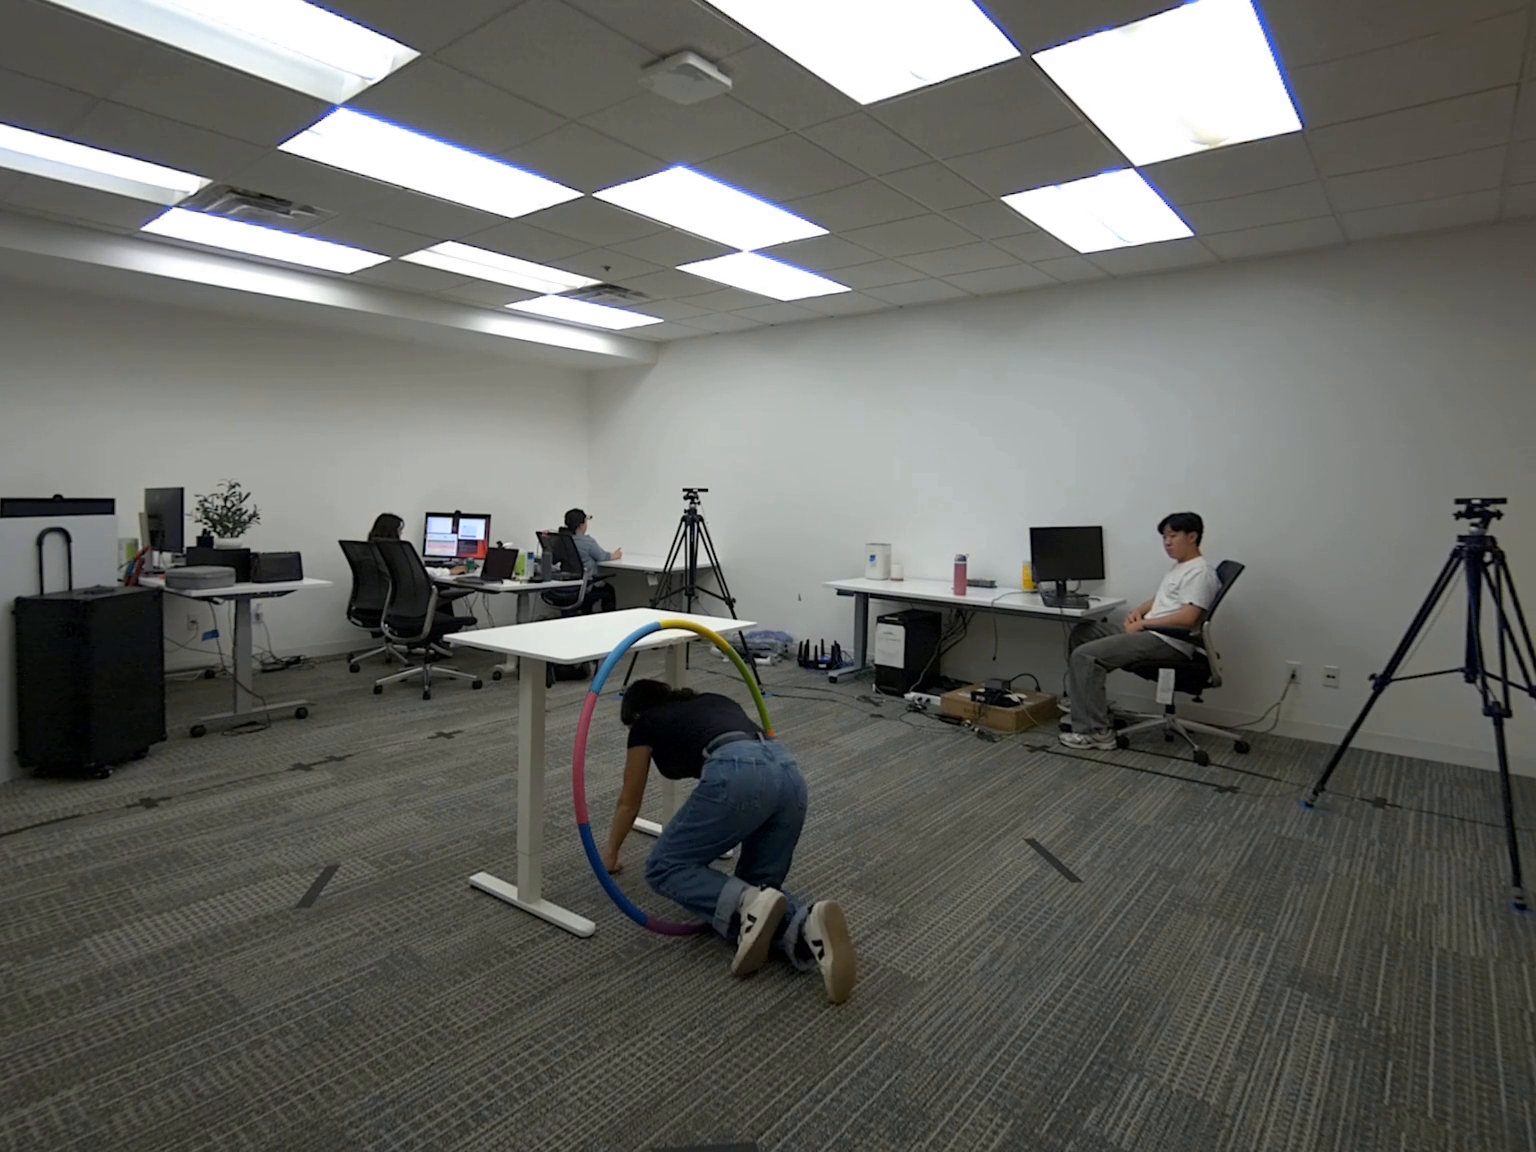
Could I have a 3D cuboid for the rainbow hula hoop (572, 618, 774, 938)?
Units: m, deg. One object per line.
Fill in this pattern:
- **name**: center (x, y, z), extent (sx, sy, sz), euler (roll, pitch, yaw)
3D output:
- **rainbow hula hoop**: center (-0.256, 0.625, 2.761), extent (0.036, 0.985, 0.951), euler (-15, -5, 34)
